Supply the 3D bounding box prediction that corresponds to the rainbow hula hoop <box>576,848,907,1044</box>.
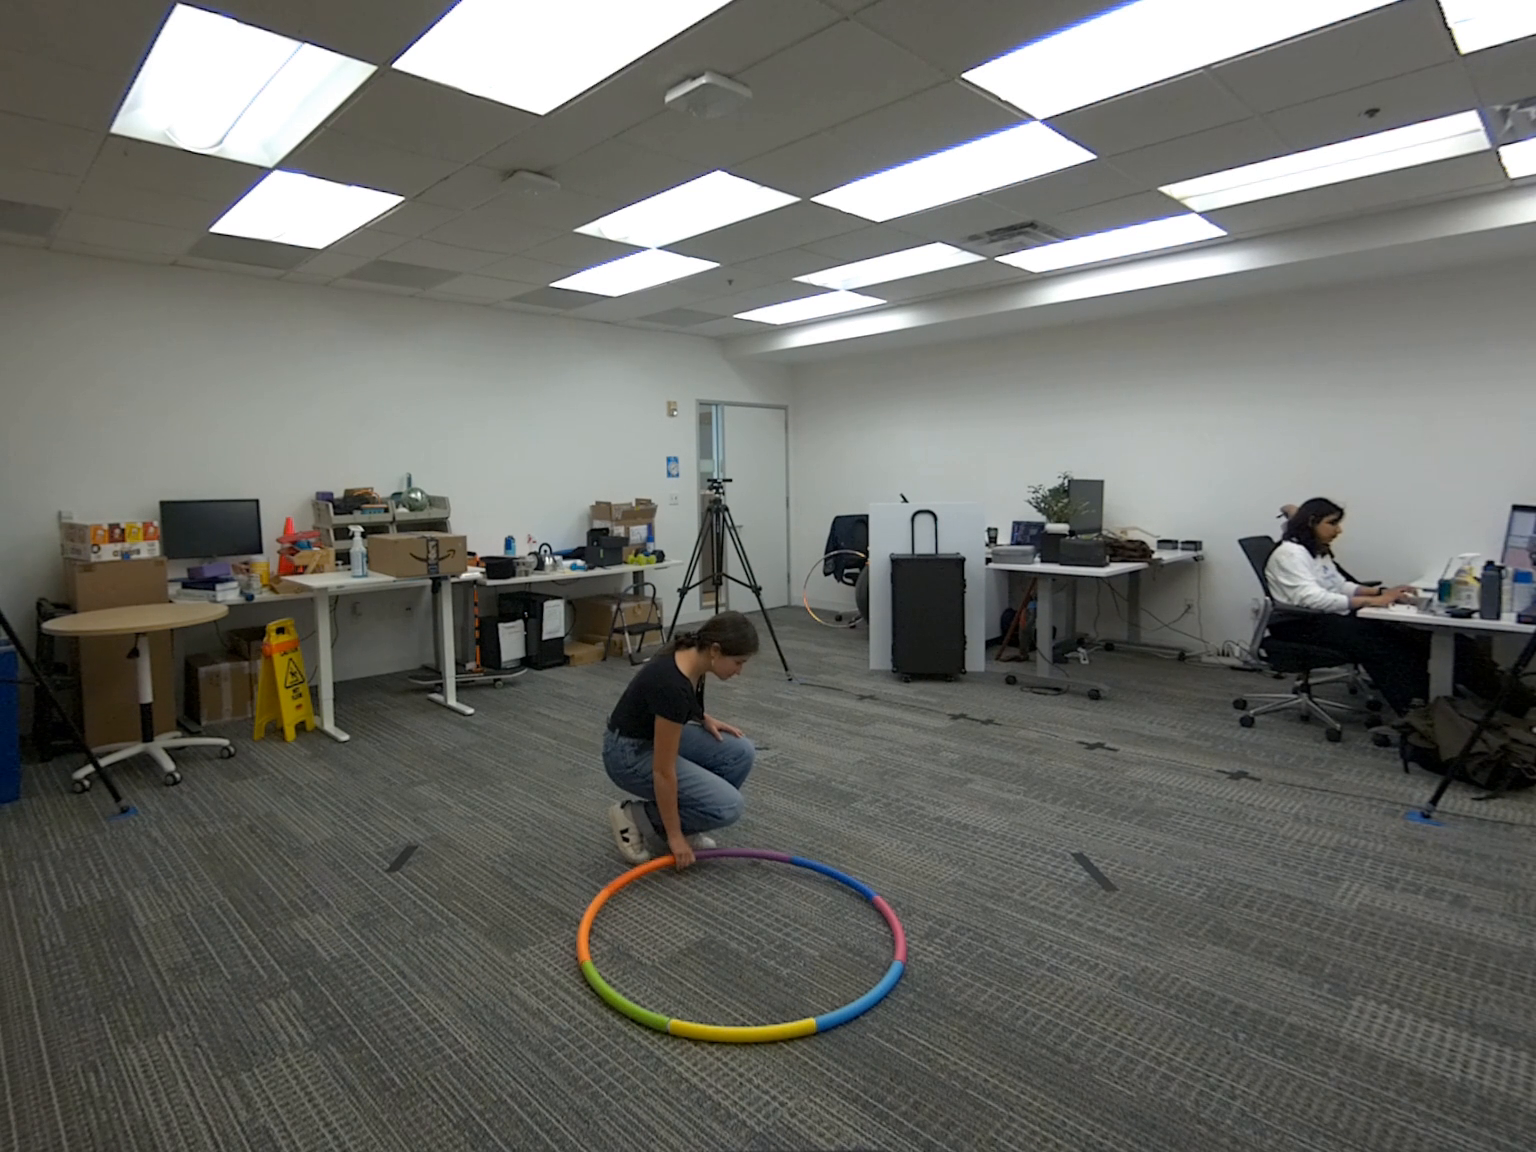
[{"bbox_3d":[-0.079,1.062,2.605,0.978,0.035,0.986,-1,8,-2],"label":"rainbow hula hoop"}]
